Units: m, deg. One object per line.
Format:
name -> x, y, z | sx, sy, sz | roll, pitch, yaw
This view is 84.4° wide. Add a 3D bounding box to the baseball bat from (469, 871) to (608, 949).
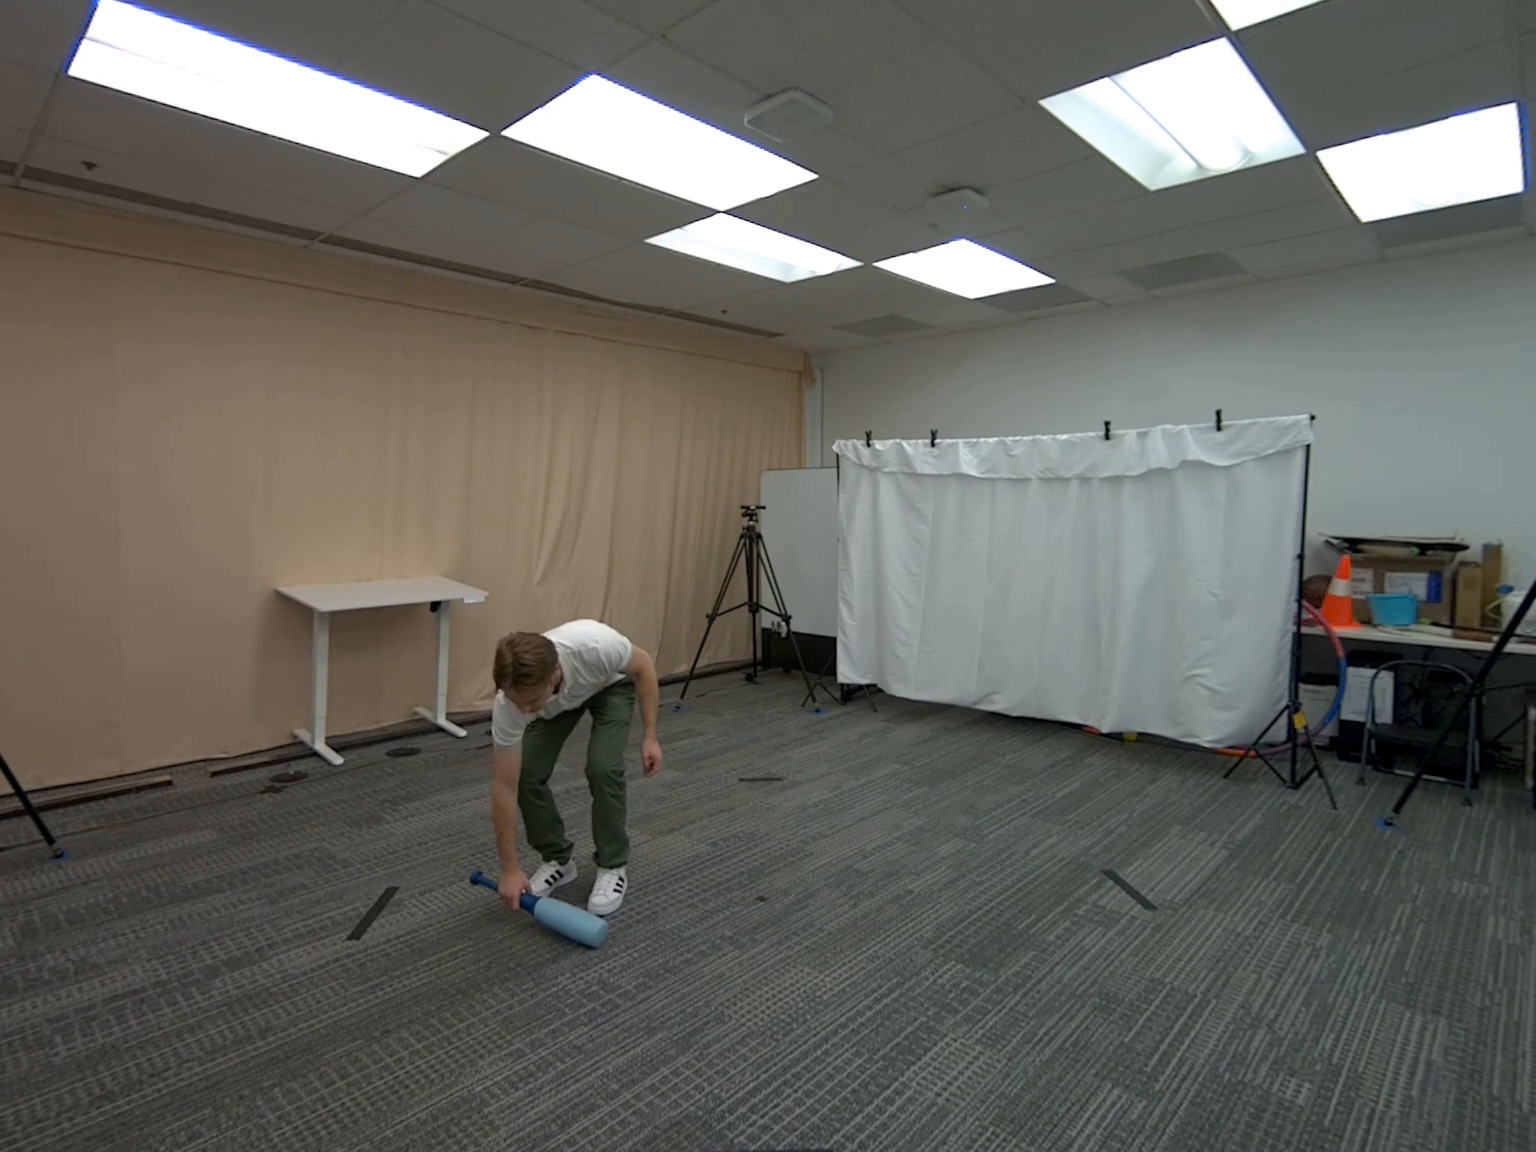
baseball bat -> -0.770, 1.077, 2.768 | 0.556, 0.089, 0.087 | 10, 7, 22
